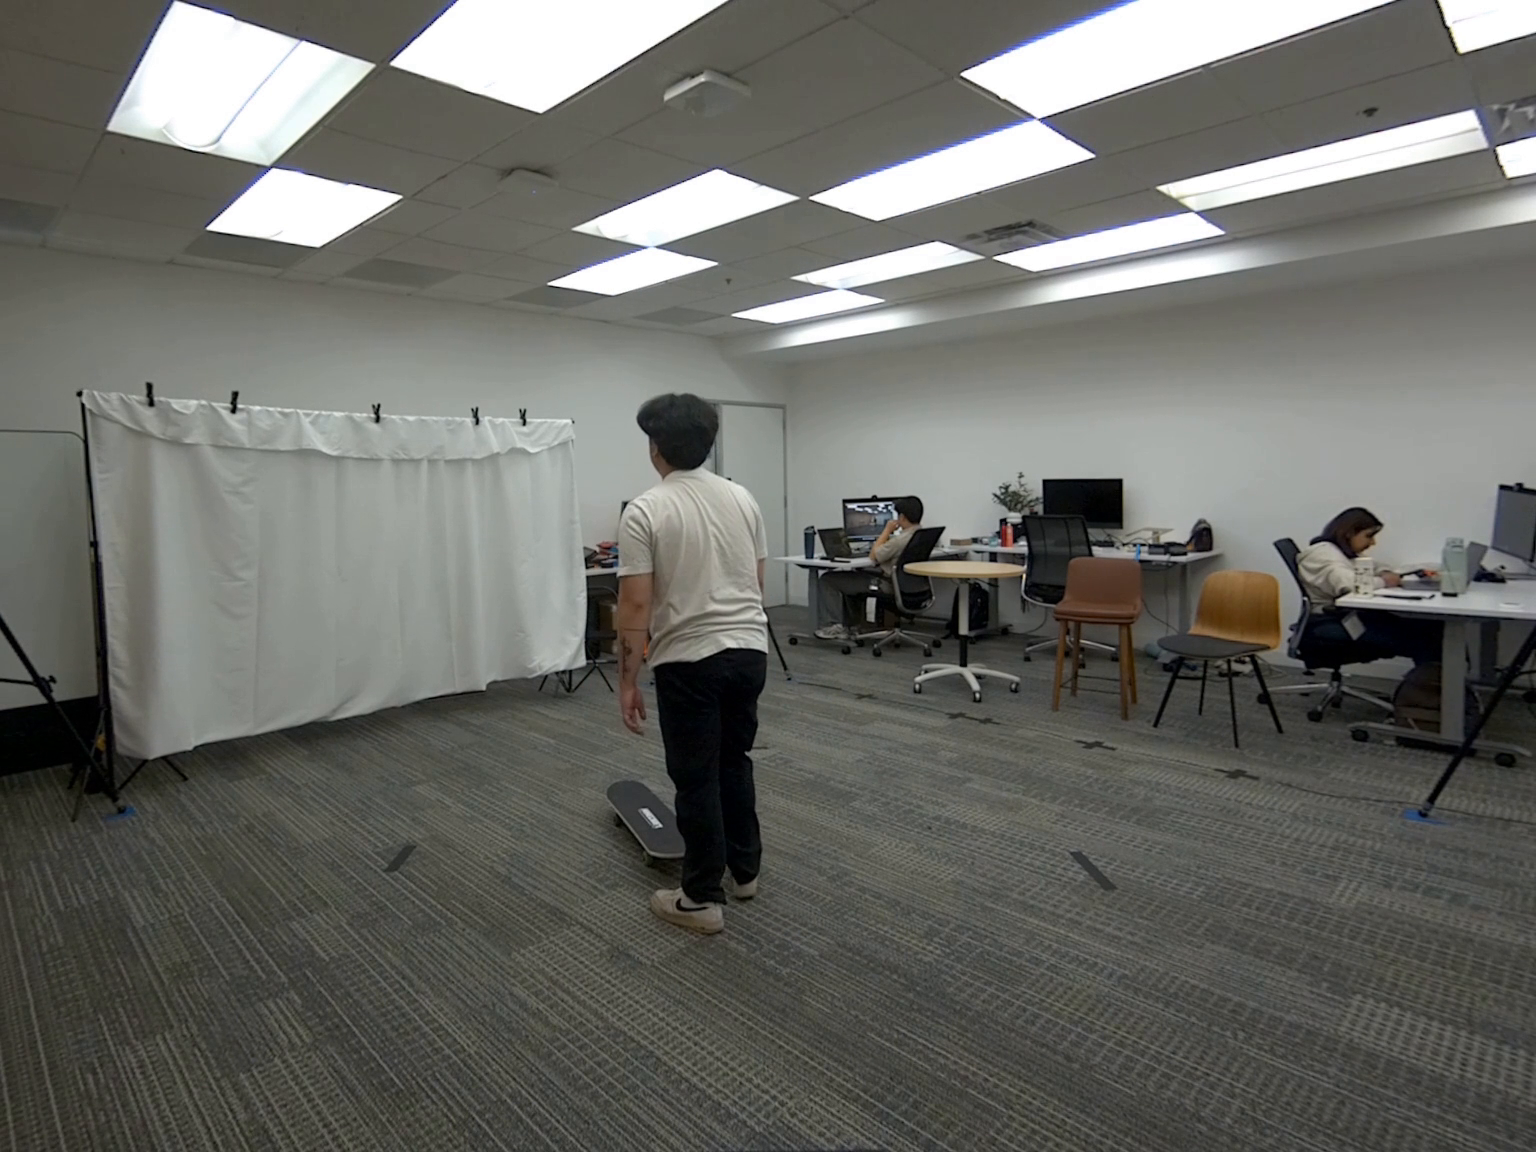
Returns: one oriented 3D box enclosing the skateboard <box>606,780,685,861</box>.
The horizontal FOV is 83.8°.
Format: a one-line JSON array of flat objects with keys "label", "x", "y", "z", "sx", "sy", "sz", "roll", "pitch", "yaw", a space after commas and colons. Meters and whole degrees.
[{"label": "skateboard", "x": -0.450, "y": 0.973, "z": 3.308, "sx": 0.189, "sy": 0.110, "sz": 0.805, "roll": -3, "pitch": 7, "yaw": -25}]
